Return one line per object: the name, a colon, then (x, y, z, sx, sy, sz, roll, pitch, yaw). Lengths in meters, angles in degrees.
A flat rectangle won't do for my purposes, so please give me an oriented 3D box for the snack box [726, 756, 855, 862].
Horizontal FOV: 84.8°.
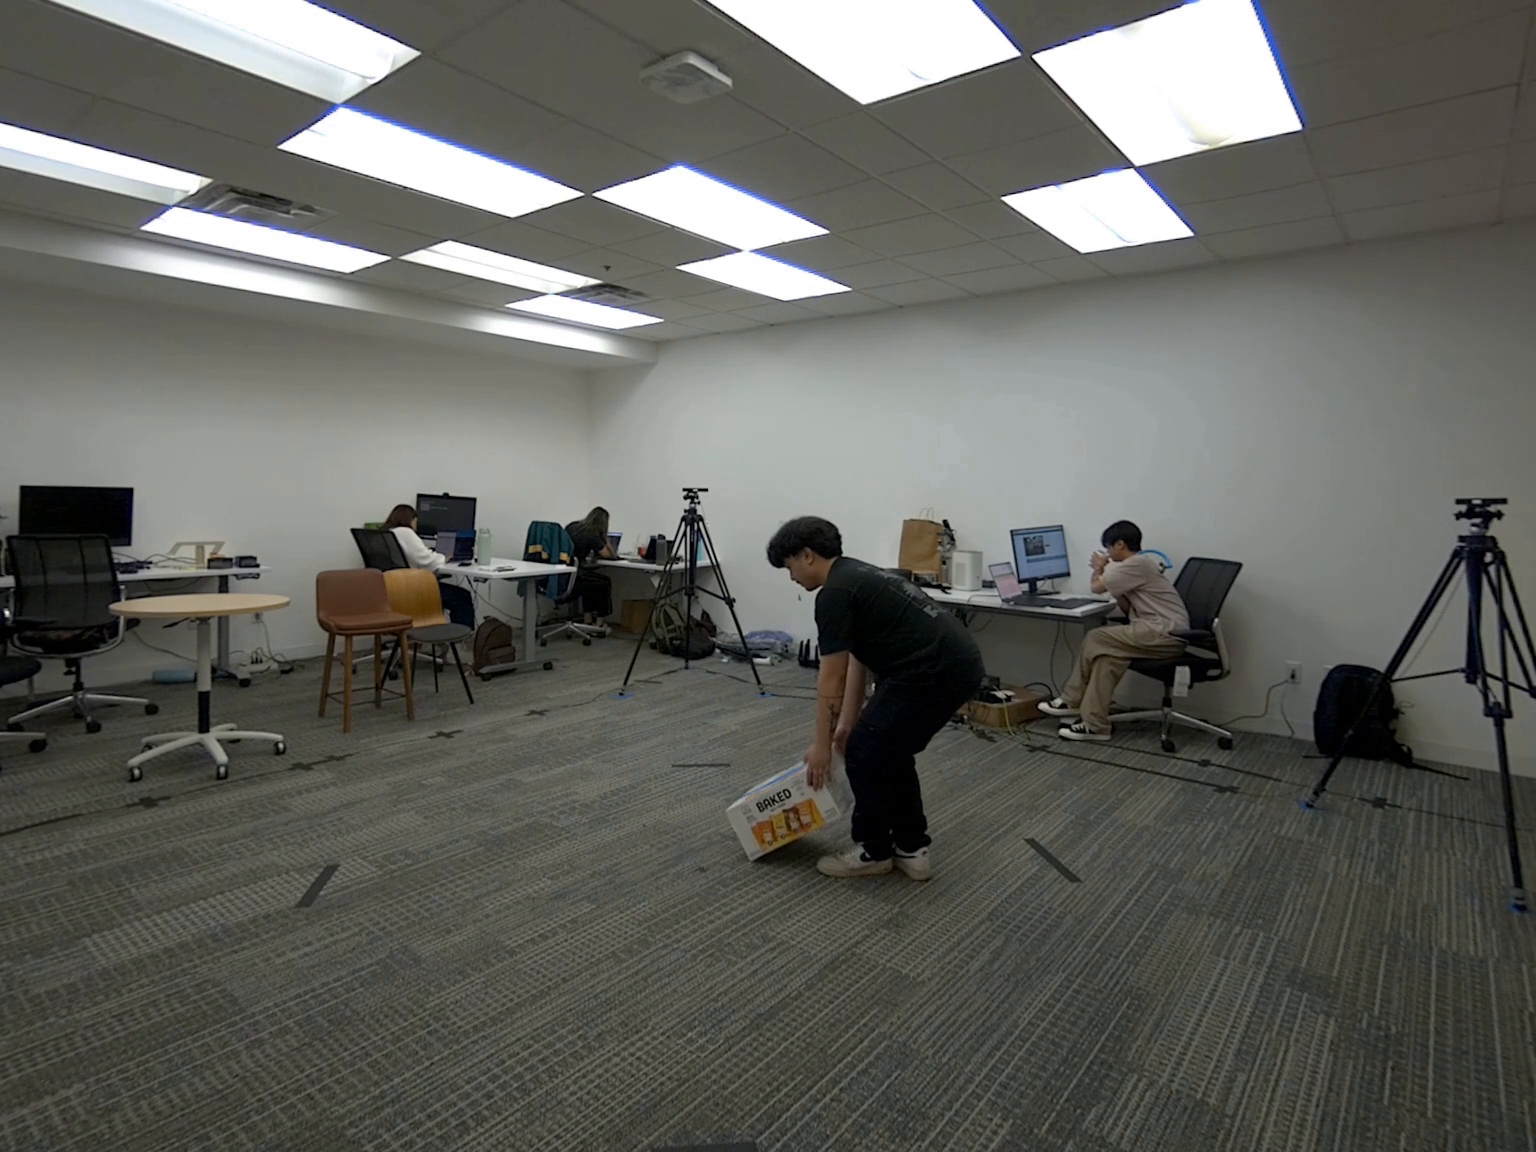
snack box: (0.094, 0.864, 3.277, 0.408, 0.208, 0.334, -31, -8, 17)
